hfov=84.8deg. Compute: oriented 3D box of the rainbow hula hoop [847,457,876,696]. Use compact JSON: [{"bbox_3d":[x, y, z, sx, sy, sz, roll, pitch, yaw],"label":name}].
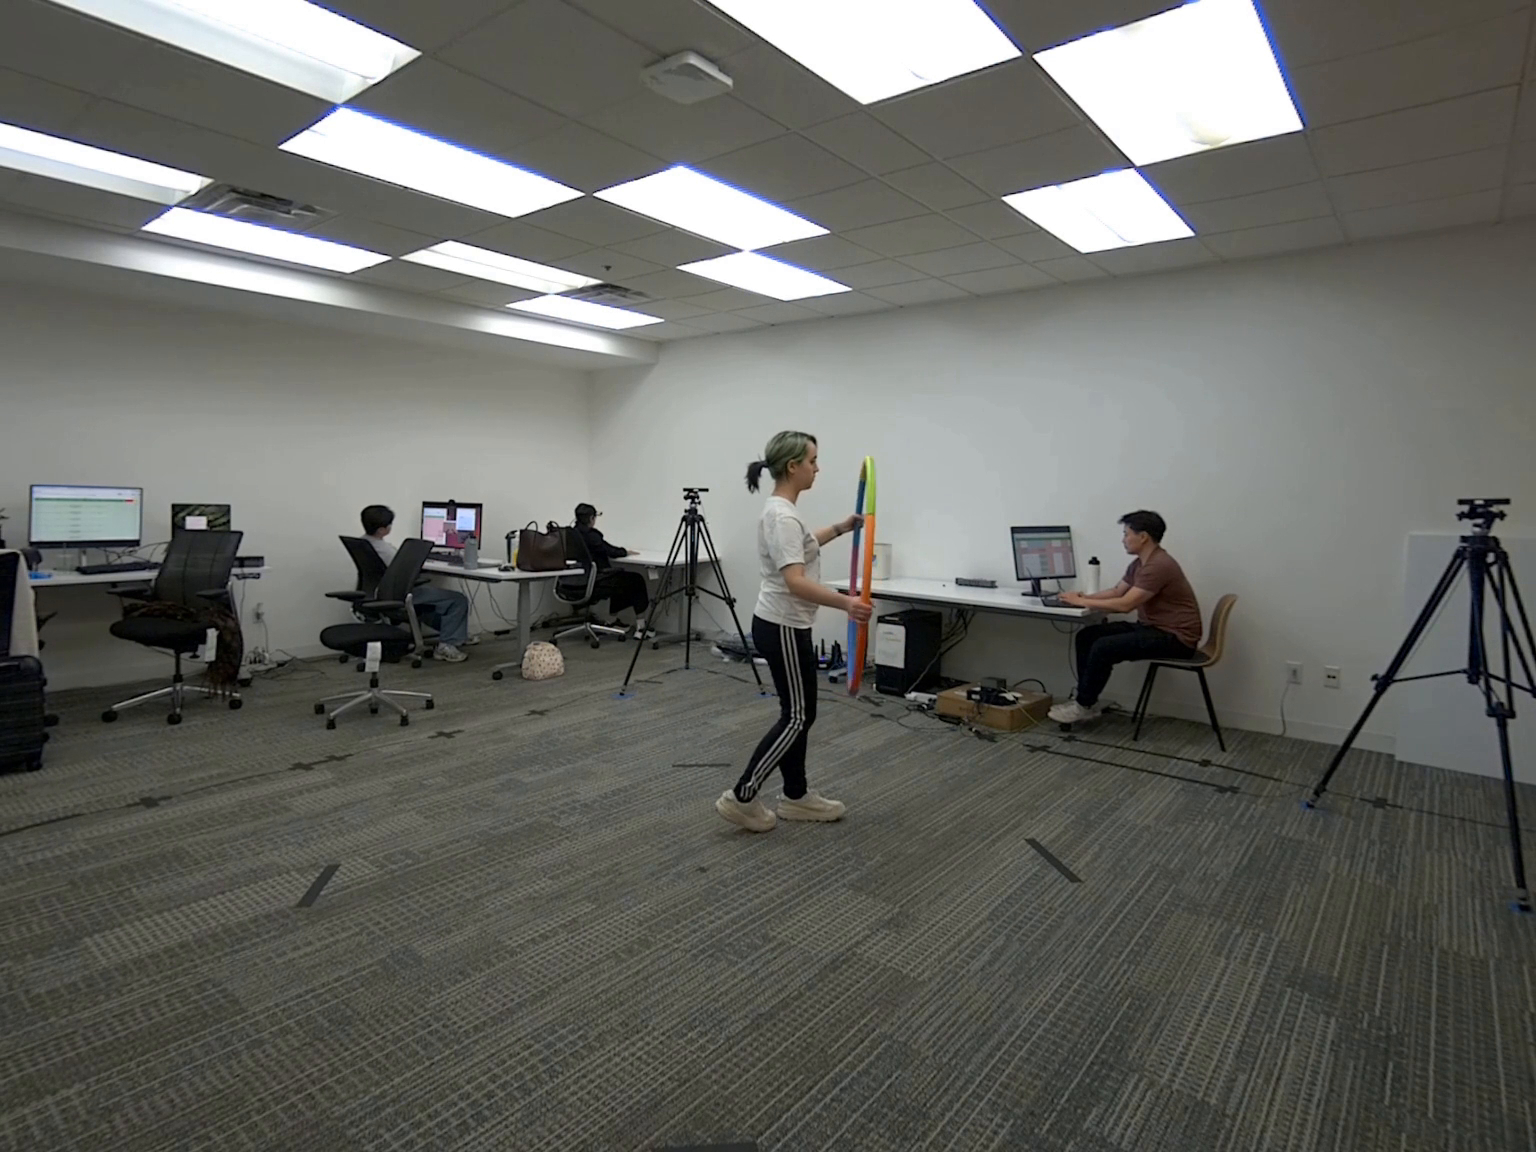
[{"bbox_3d":[0.370,-0.007,3.509,0.036,0.975,0.977,5,4,2],"label":"rainbow hula hoop"}]
